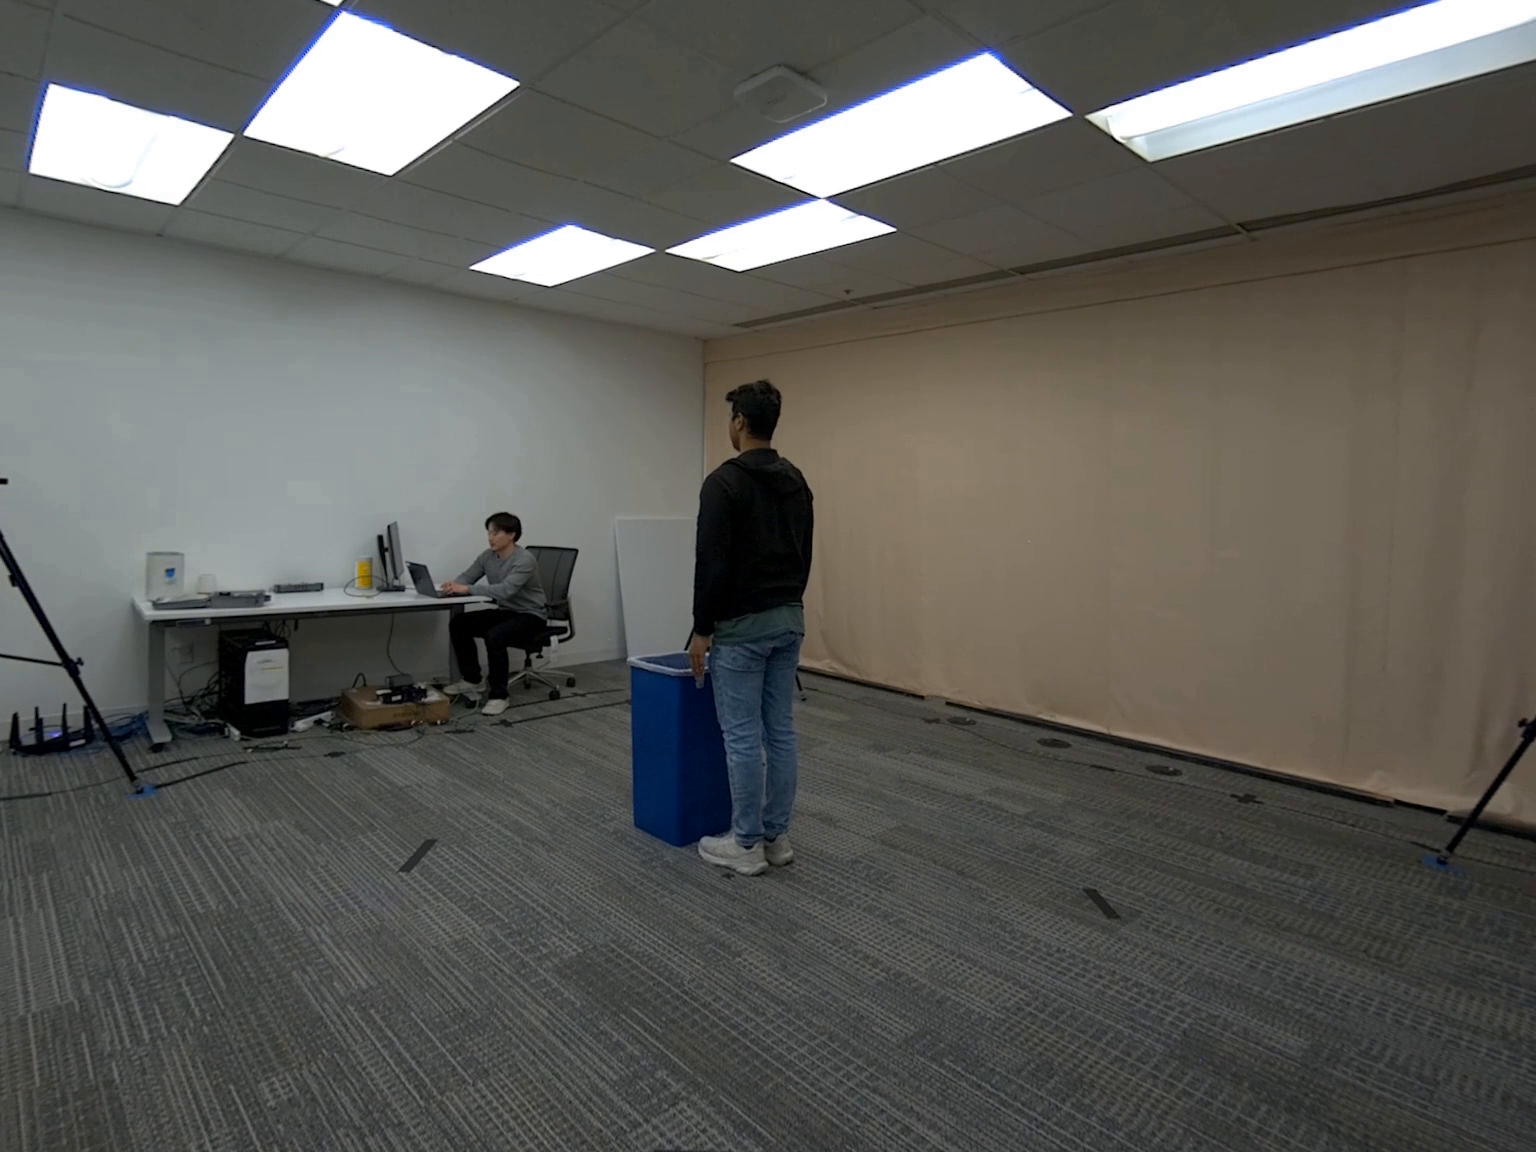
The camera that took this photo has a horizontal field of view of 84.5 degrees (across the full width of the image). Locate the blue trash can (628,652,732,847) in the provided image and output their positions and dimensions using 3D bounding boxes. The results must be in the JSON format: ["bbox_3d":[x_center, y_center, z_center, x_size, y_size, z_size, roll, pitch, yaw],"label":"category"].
[{"bbox_3d":[-0.363,0.704,3.542,0.369,0.712,0.384,-1,4,-44],"label":"blue trash can"}]
